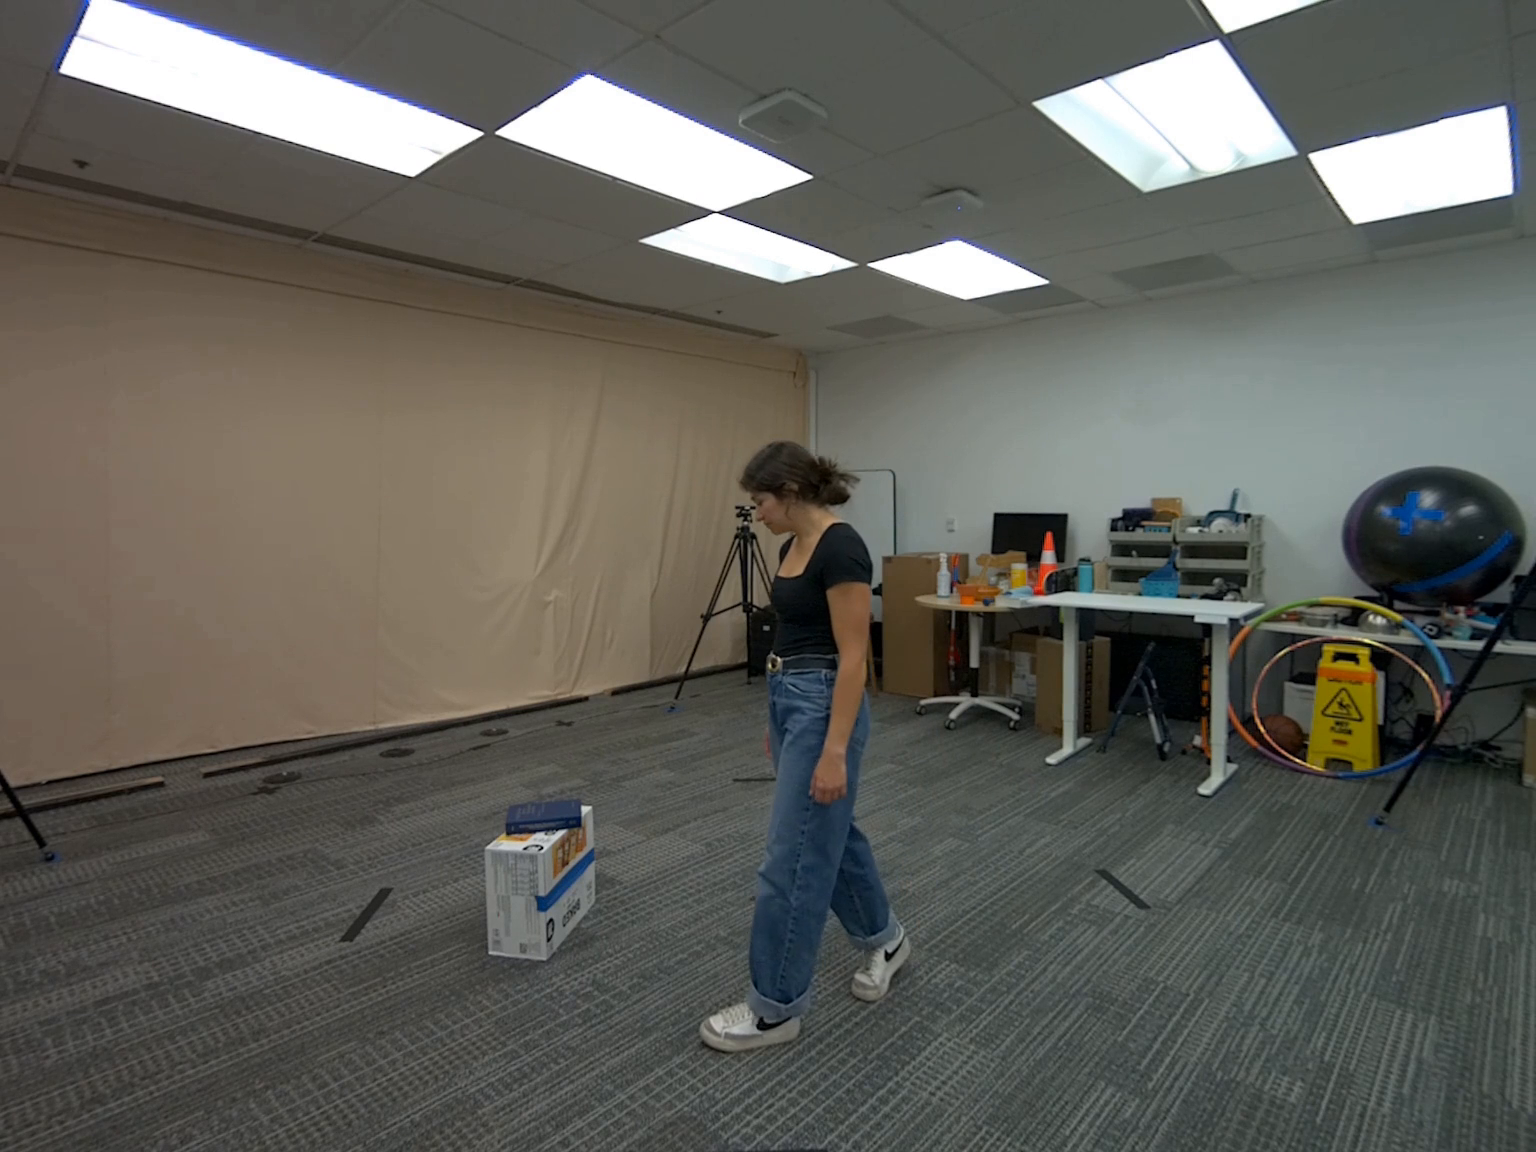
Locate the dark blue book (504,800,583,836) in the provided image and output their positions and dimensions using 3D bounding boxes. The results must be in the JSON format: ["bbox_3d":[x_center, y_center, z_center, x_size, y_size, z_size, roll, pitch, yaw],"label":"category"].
[{"bbox_3d":[-0.756,0.803,2.814,0.242,0.045,0.166,-2,4,-11],"label":"dark blue book"}]
